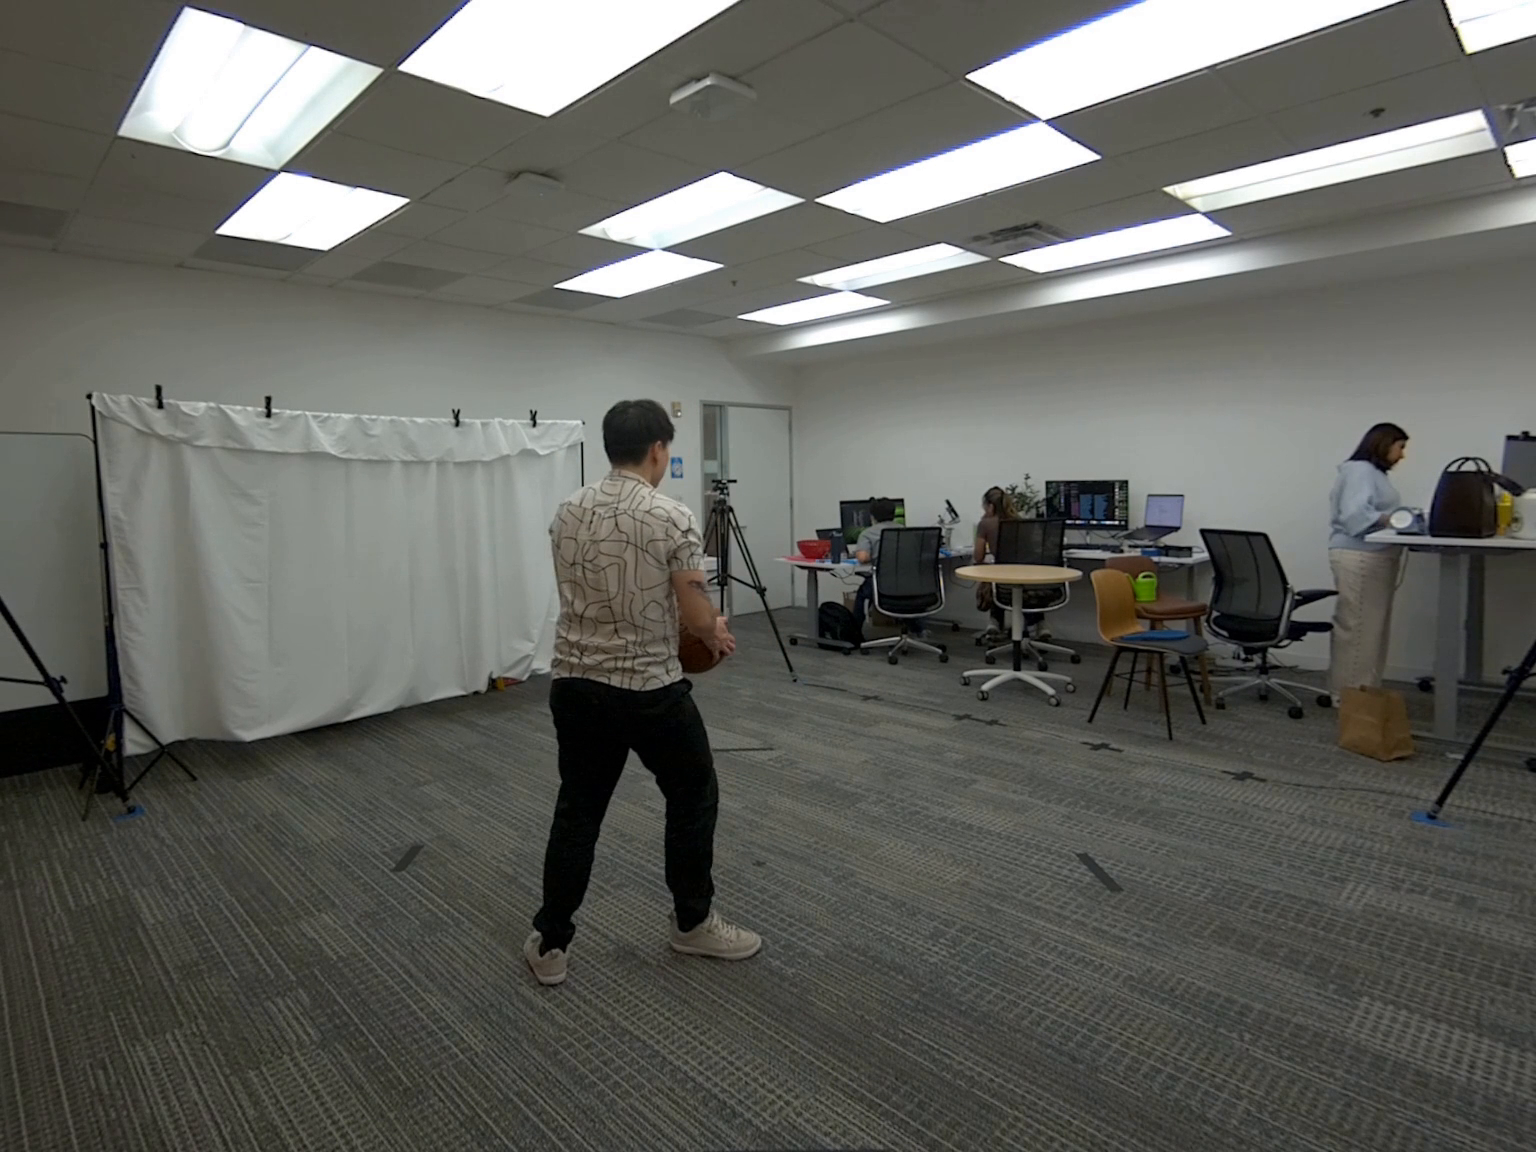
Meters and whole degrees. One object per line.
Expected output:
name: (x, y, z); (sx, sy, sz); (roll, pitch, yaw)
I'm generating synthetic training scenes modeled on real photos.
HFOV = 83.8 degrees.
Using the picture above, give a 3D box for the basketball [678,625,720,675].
basketball: (-0.233, 0.192, 2.735); (0.236, 0.235, 0.237); (-1, 5, -2)
